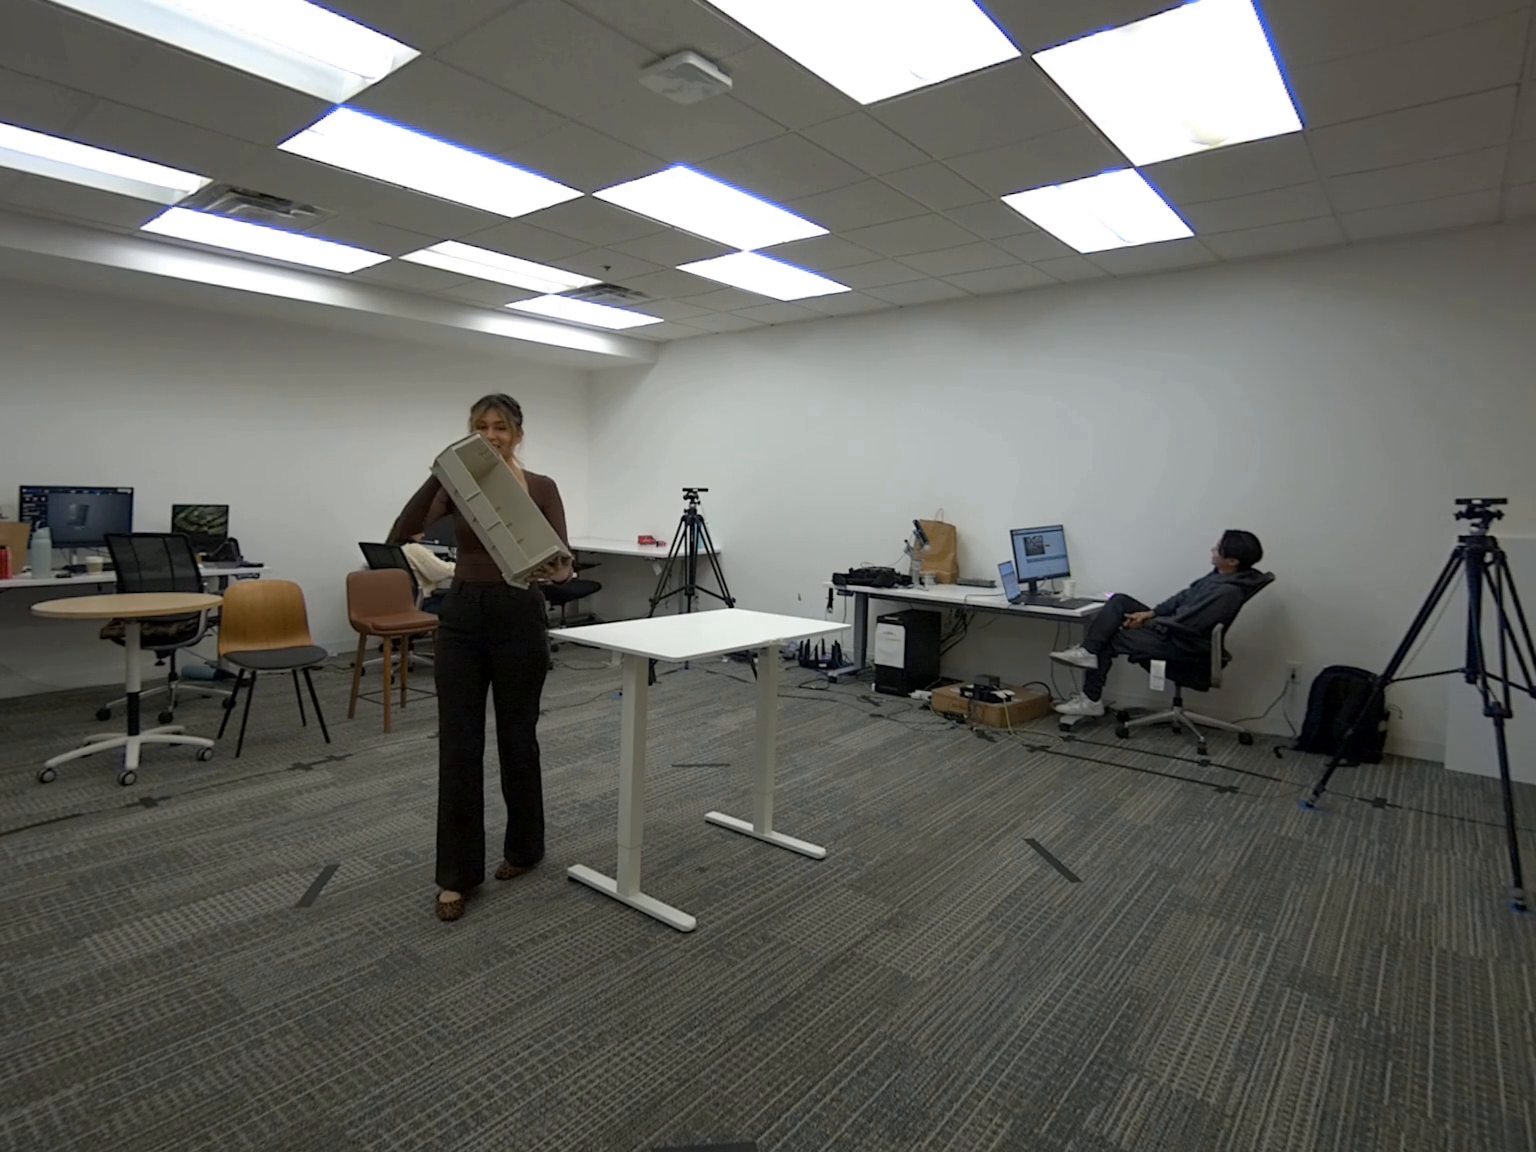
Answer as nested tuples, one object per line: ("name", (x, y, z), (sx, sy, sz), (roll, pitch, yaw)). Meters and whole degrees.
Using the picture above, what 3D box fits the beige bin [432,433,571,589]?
("beige bin", (-0.810, -0.187, 2.564), (0.188, 0.424, 0.377), (-36, -2, -8))
